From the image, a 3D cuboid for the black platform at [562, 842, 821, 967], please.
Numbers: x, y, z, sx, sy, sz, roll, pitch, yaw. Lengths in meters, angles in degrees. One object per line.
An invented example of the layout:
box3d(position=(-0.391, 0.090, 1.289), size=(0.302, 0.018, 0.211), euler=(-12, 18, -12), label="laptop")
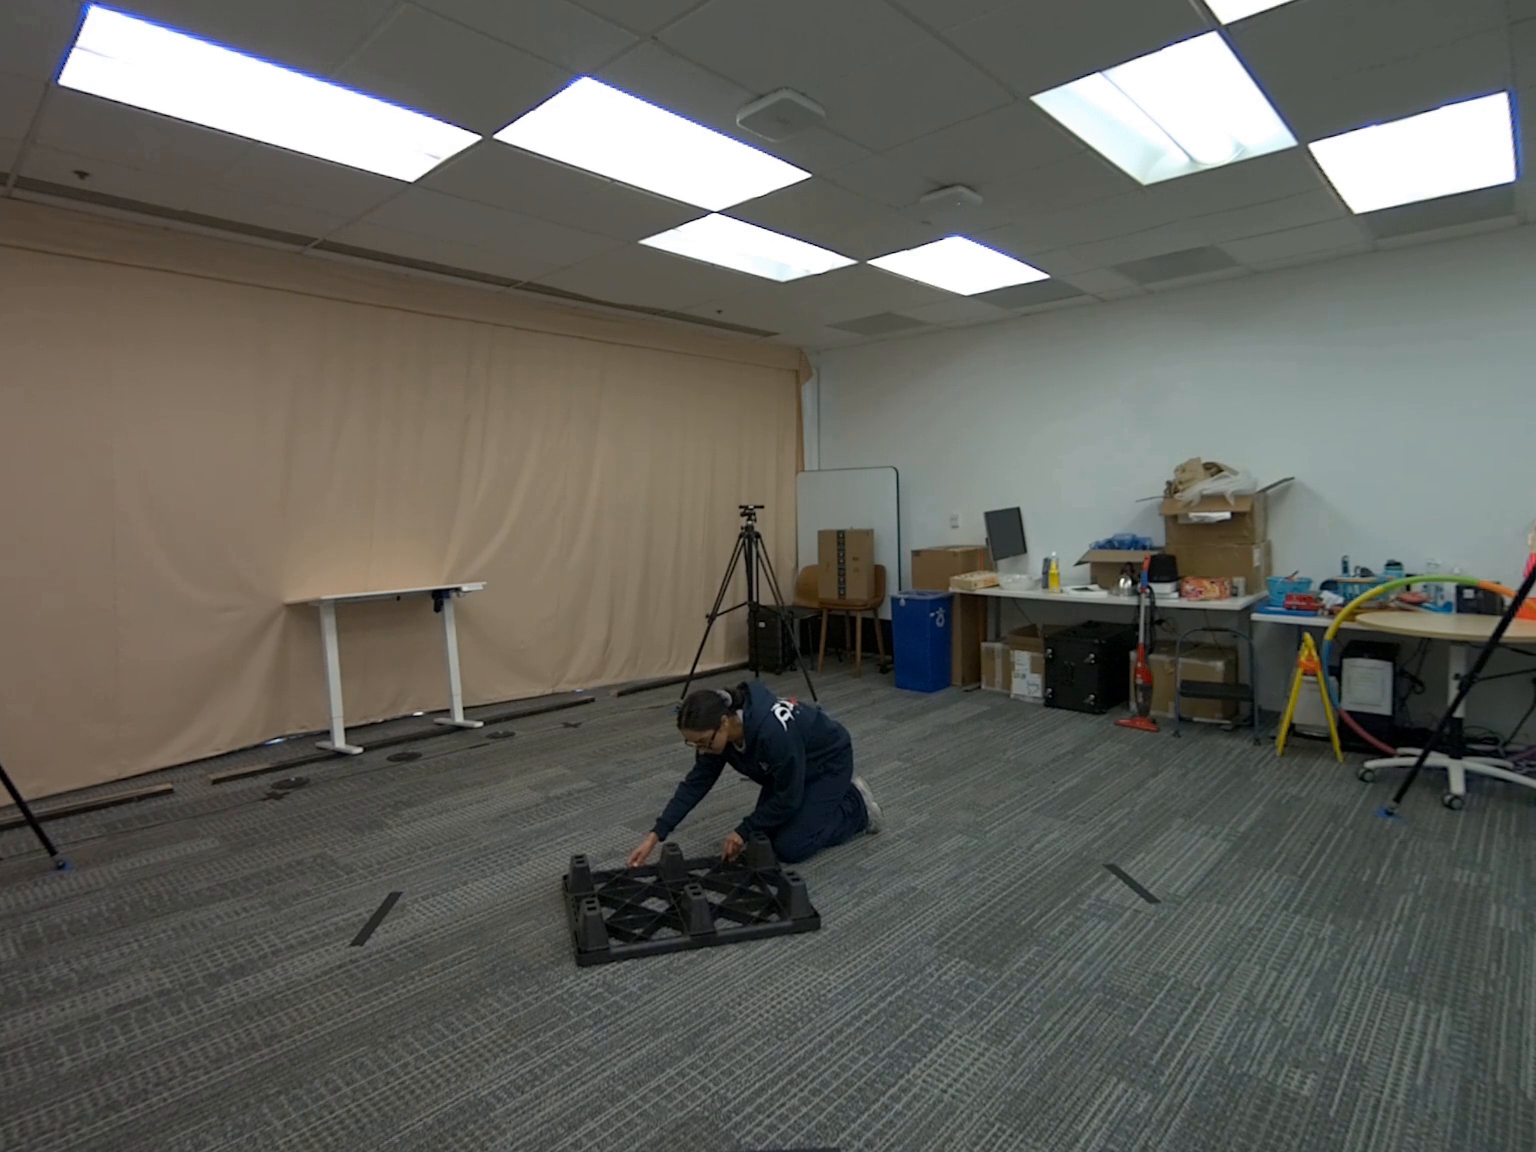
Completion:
box3d(position=(-0.298, 1.082, 2.943), size=(0.792, 0.143, 0.617), euler=(-3, 5, -17), label="black platform")
